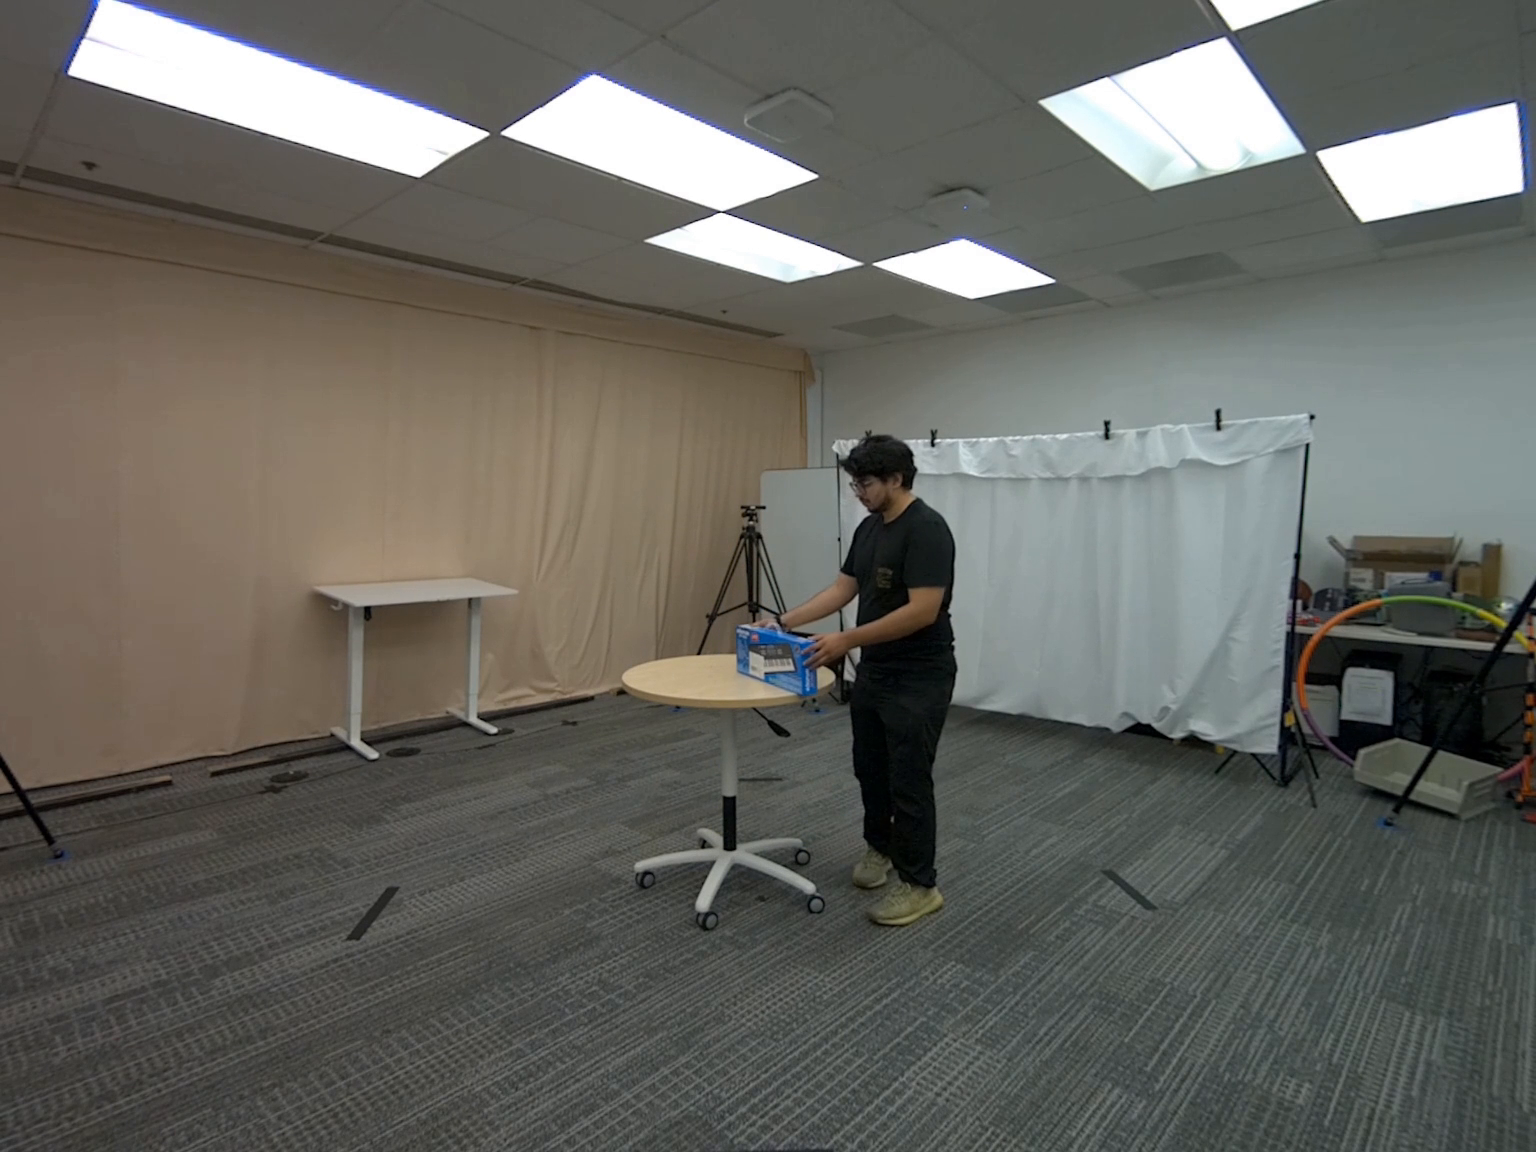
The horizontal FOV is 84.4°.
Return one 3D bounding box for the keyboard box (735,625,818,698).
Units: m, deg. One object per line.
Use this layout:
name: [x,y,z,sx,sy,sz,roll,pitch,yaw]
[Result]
keyboard box: [0.021,0.285,2.906,0.057,0.175,0.449,-2,5,-29]
